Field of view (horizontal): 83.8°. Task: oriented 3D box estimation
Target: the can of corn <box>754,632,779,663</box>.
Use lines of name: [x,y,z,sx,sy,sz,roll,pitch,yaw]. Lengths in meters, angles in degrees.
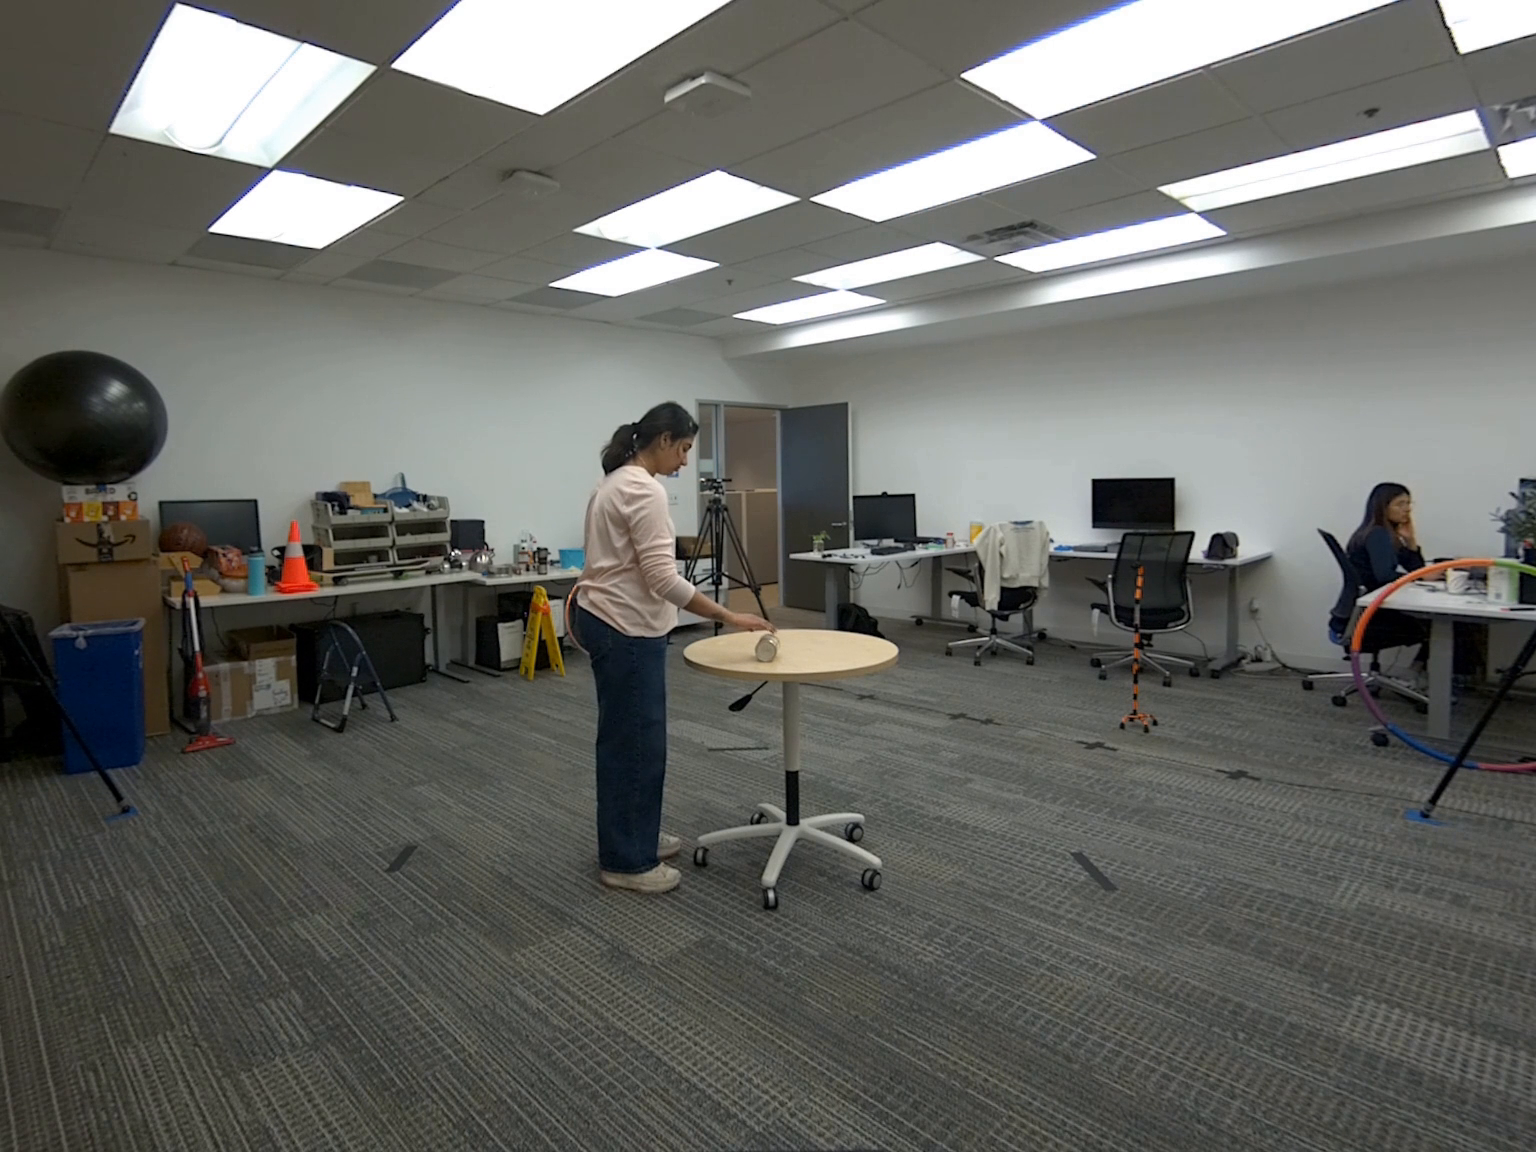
can of corn: [-0.002,0.241,2.912,0.074,0.074,0.111,-1,6,-1]
